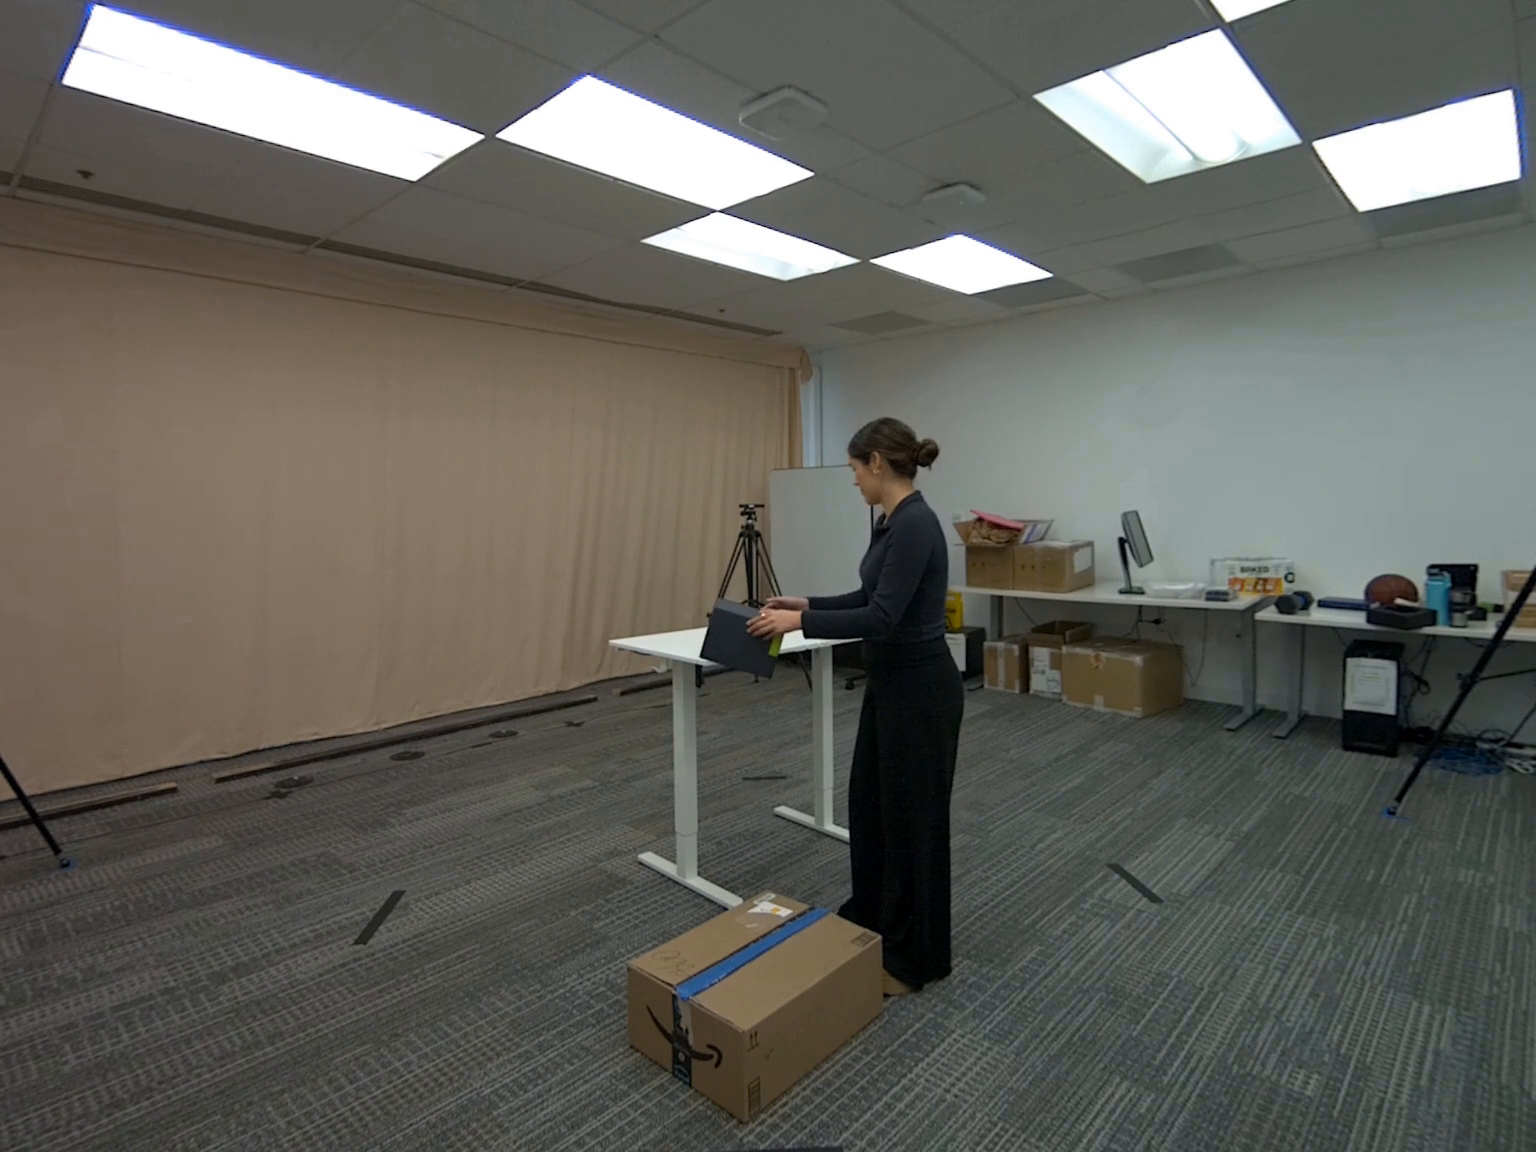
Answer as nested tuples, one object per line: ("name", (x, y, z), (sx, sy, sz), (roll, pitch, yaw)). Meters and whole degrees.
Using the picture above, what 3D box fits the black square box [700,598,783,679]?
("black square box", (-0.054, 0.181, 2.490), (0.218, 0.155, 0.227), (12, 5, 5))
